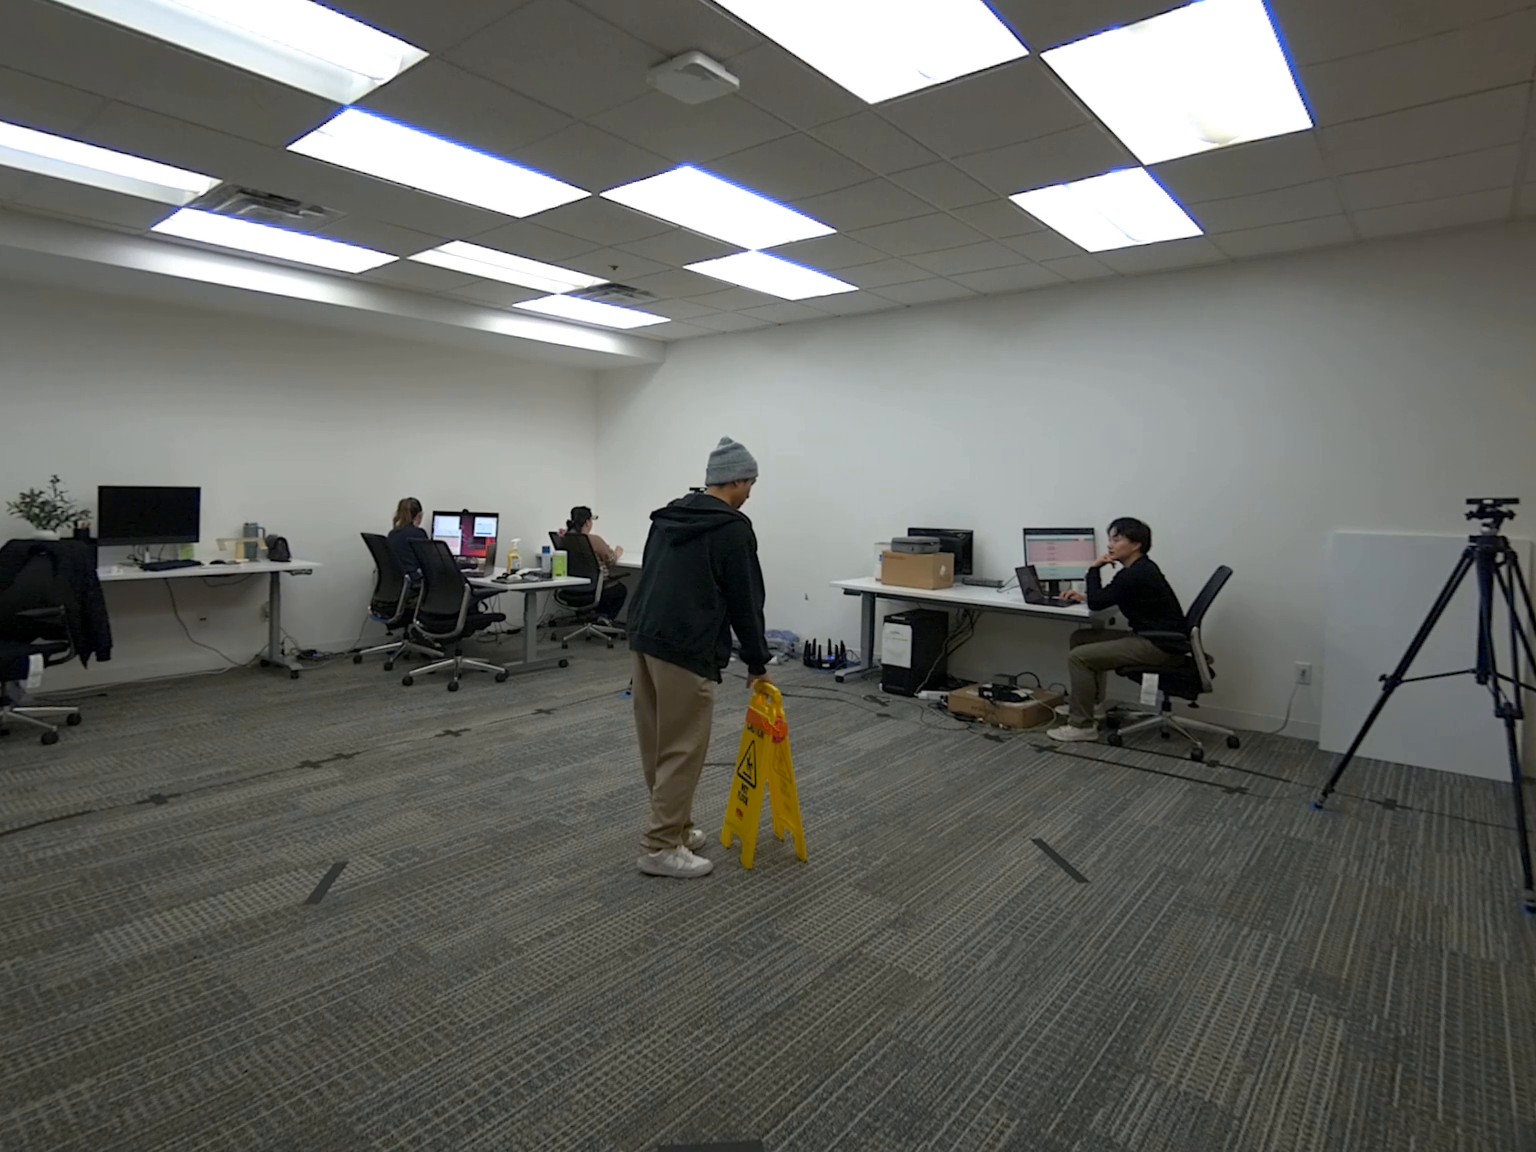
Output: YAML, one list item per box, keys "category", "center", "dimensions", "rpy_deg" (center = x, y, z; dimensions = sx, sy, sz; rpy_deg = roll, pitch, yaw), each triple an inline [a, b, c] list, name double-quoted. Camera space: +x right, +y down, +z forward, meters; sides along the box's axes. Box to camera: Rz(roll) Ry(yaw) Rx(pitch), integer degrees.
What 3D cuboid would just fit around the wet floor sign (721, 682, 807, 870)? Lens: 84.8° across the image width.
- category: "wet floor sign"
  center: [-0.019, 0.729, 3.251]
  dimensions: [0.283, 0.644, 0.289]
  rpy_deg: [1, 4, -22]
